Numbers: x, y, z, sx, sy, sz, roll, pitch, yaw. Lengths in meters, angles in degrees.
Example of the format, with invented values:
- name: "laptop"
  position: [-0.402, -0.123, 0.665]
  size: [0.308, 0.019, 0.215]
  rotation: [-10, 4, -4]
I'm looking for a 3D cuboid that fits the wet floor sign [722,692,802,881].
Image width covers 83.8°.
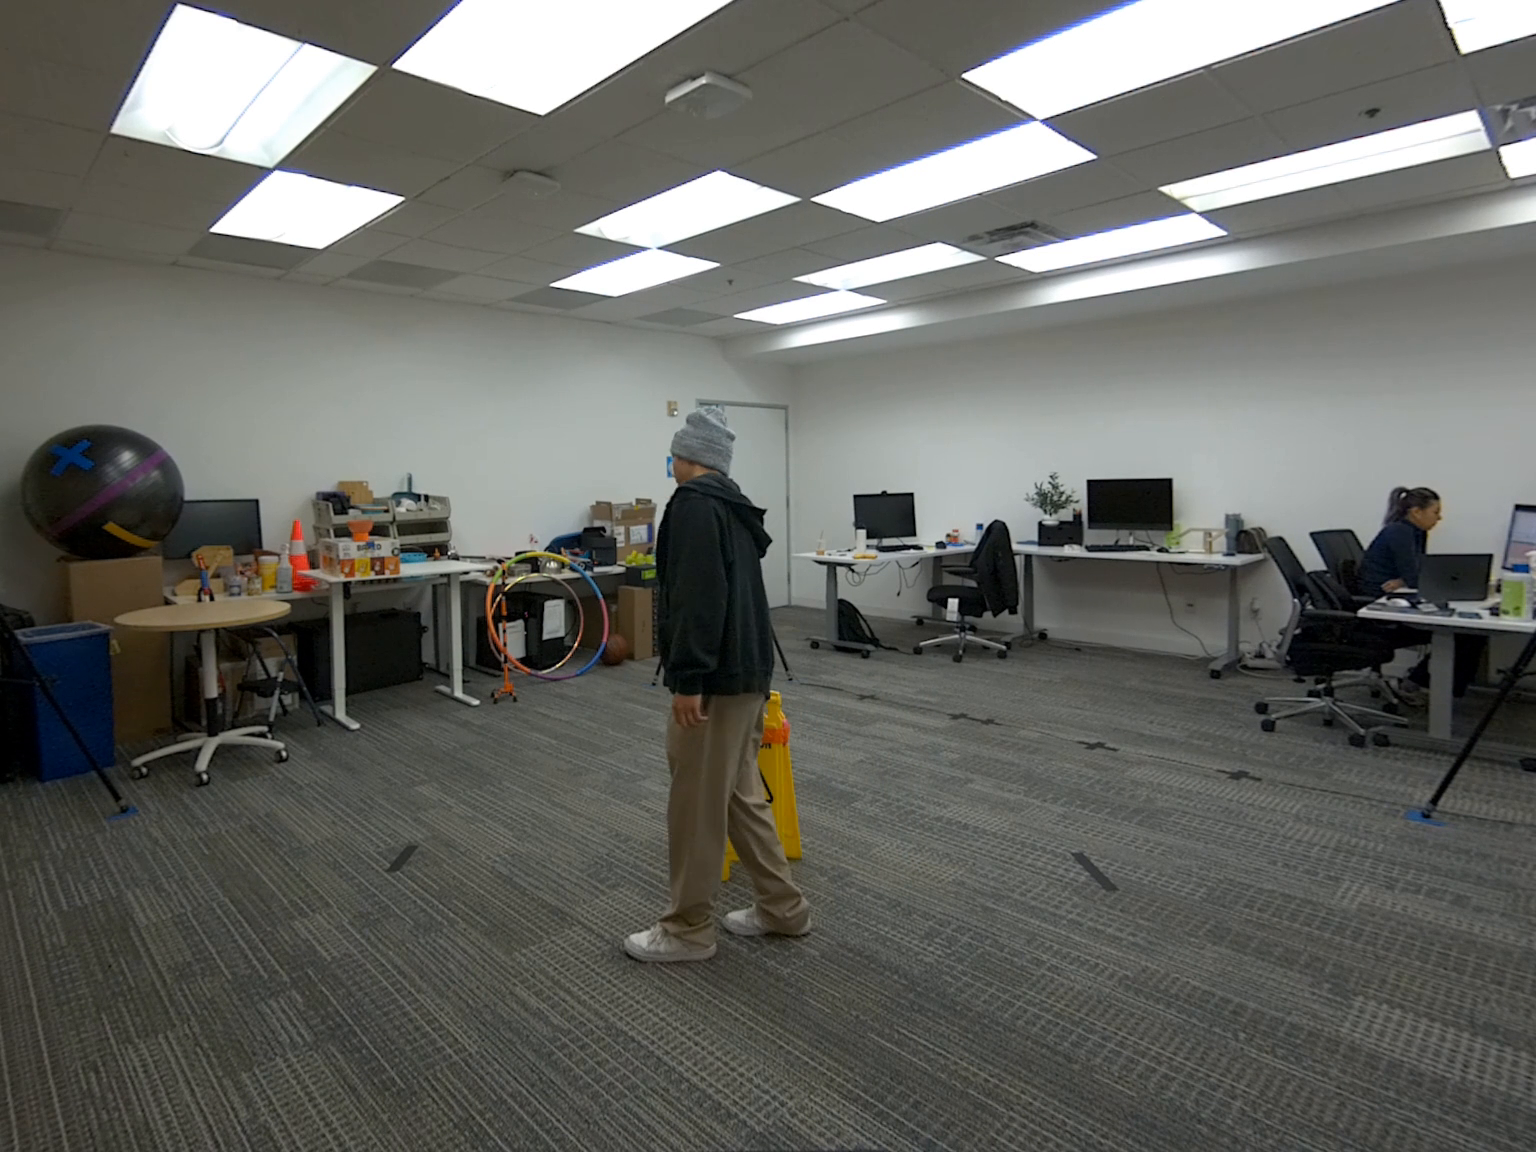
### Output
- name: "wet floor sign"
  position: [-0.046, 0.729, 3.041]
  size: [0.287, 0.644, 0.286]
  rotation: [-1, 4, 17]
